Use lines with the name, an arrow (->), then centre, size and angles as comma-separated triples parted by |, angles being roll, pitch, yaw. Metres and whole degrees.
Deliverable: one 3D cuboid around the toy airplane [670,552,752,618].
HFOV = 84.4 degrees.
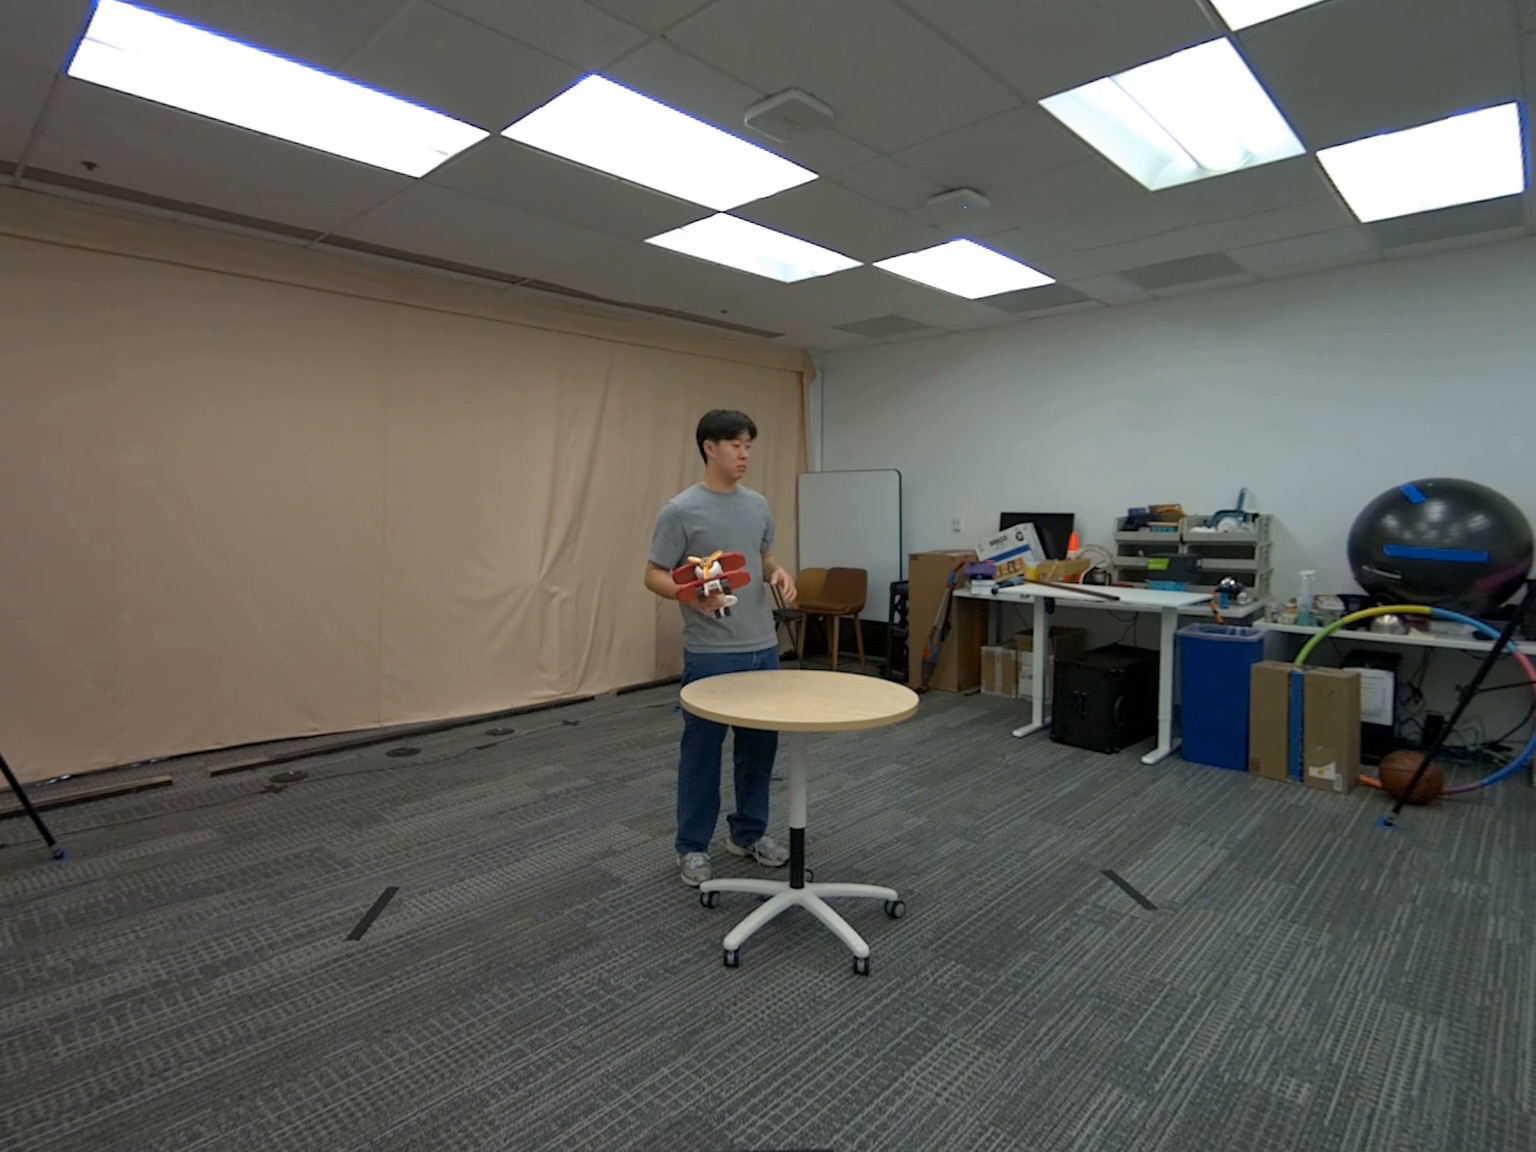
toy airplane -> -0.192, 0.024, 2.857 | 0.245, 0.159, 0.260 | -3, -26, -25
